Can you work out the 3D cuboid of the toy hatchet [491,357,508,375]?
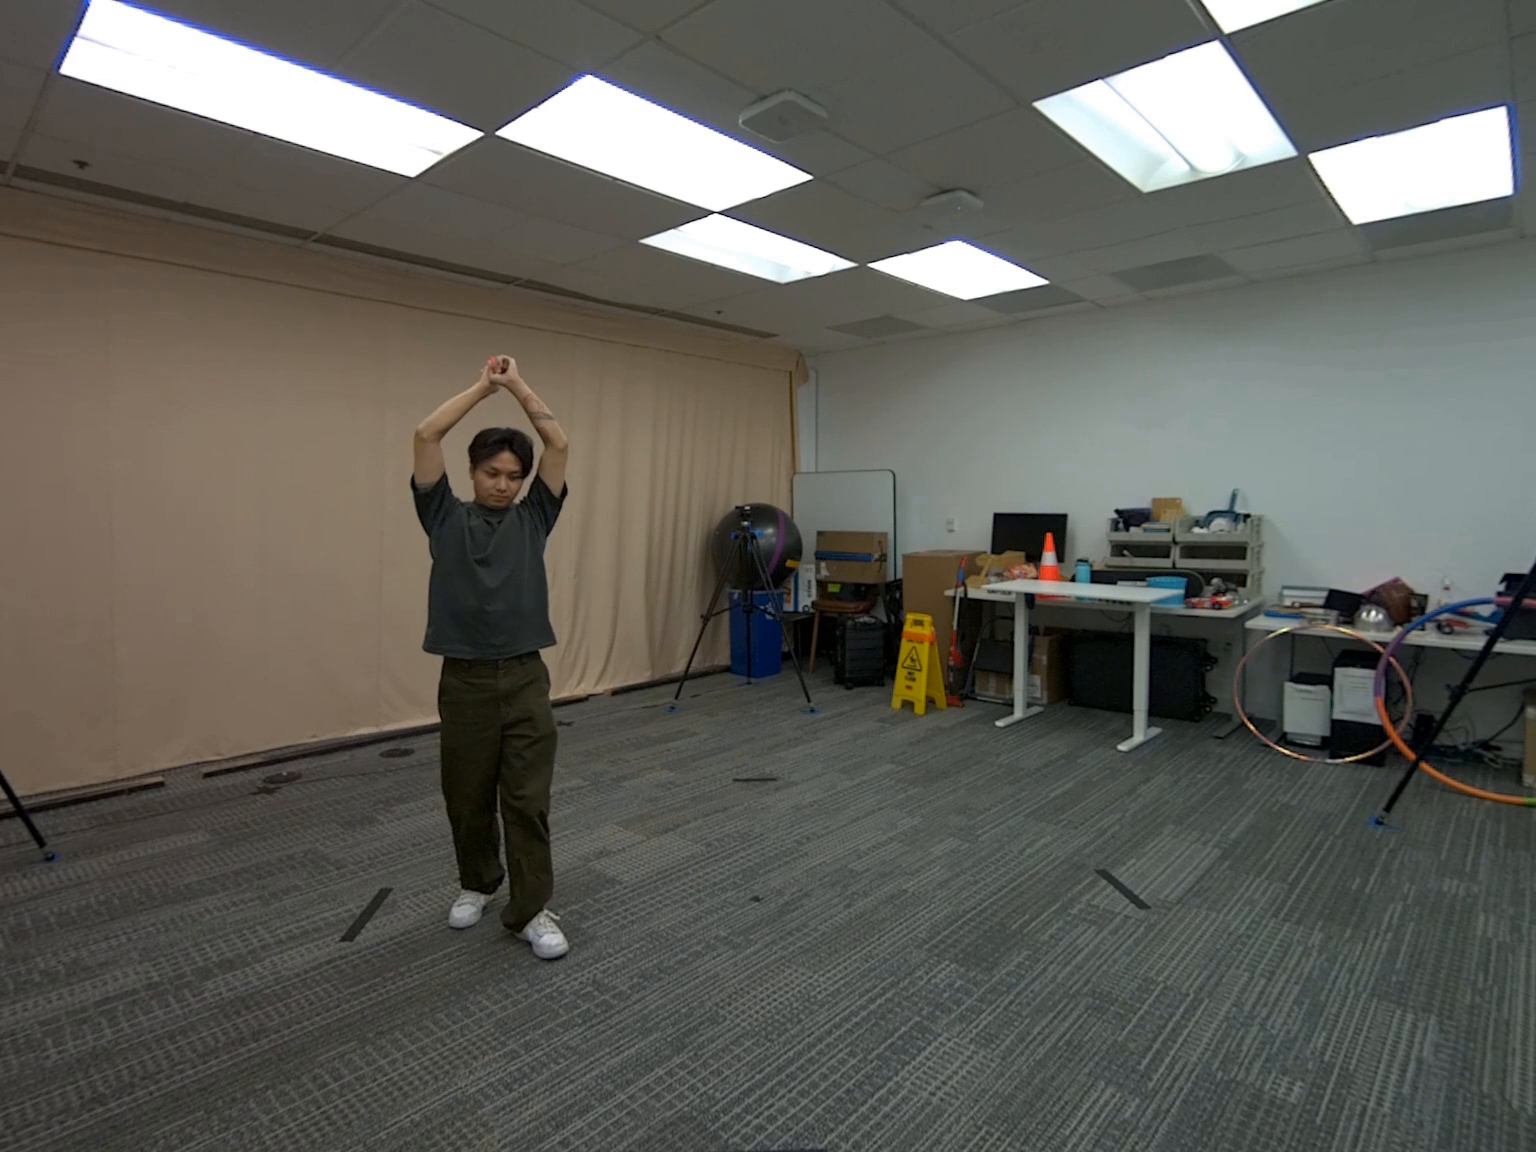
[{"bbox_3d":[-0.901,-0.699,2.768,0.029,0.132,0.276,20,-18,-25],"label":"toy hatchet"}]
